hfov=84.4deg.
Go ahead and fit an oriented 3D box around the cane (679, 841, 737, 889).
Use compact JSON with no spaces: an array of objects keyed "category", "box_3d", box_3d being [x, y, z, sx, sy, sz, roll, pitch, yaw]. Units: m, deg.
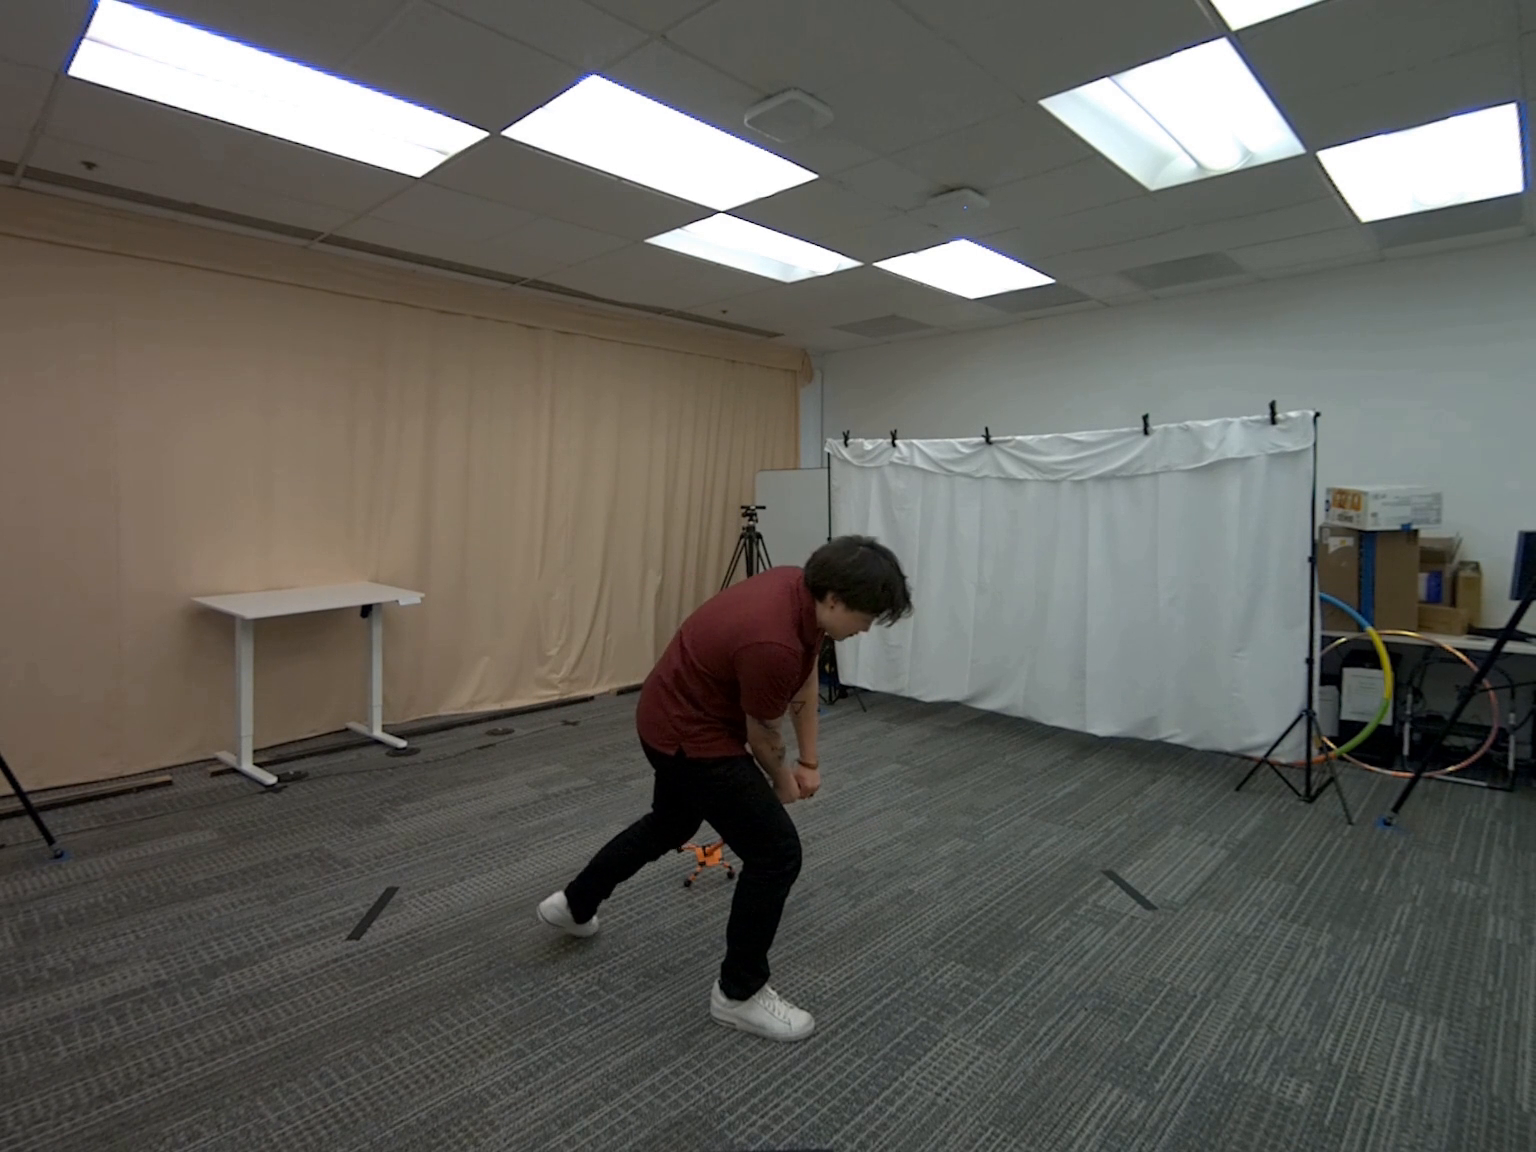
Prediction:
[{"category":"cane","box_3d":[-0.062,0.839,2.799,0.201,0.155,0.910,-3,-29,-28]}]
